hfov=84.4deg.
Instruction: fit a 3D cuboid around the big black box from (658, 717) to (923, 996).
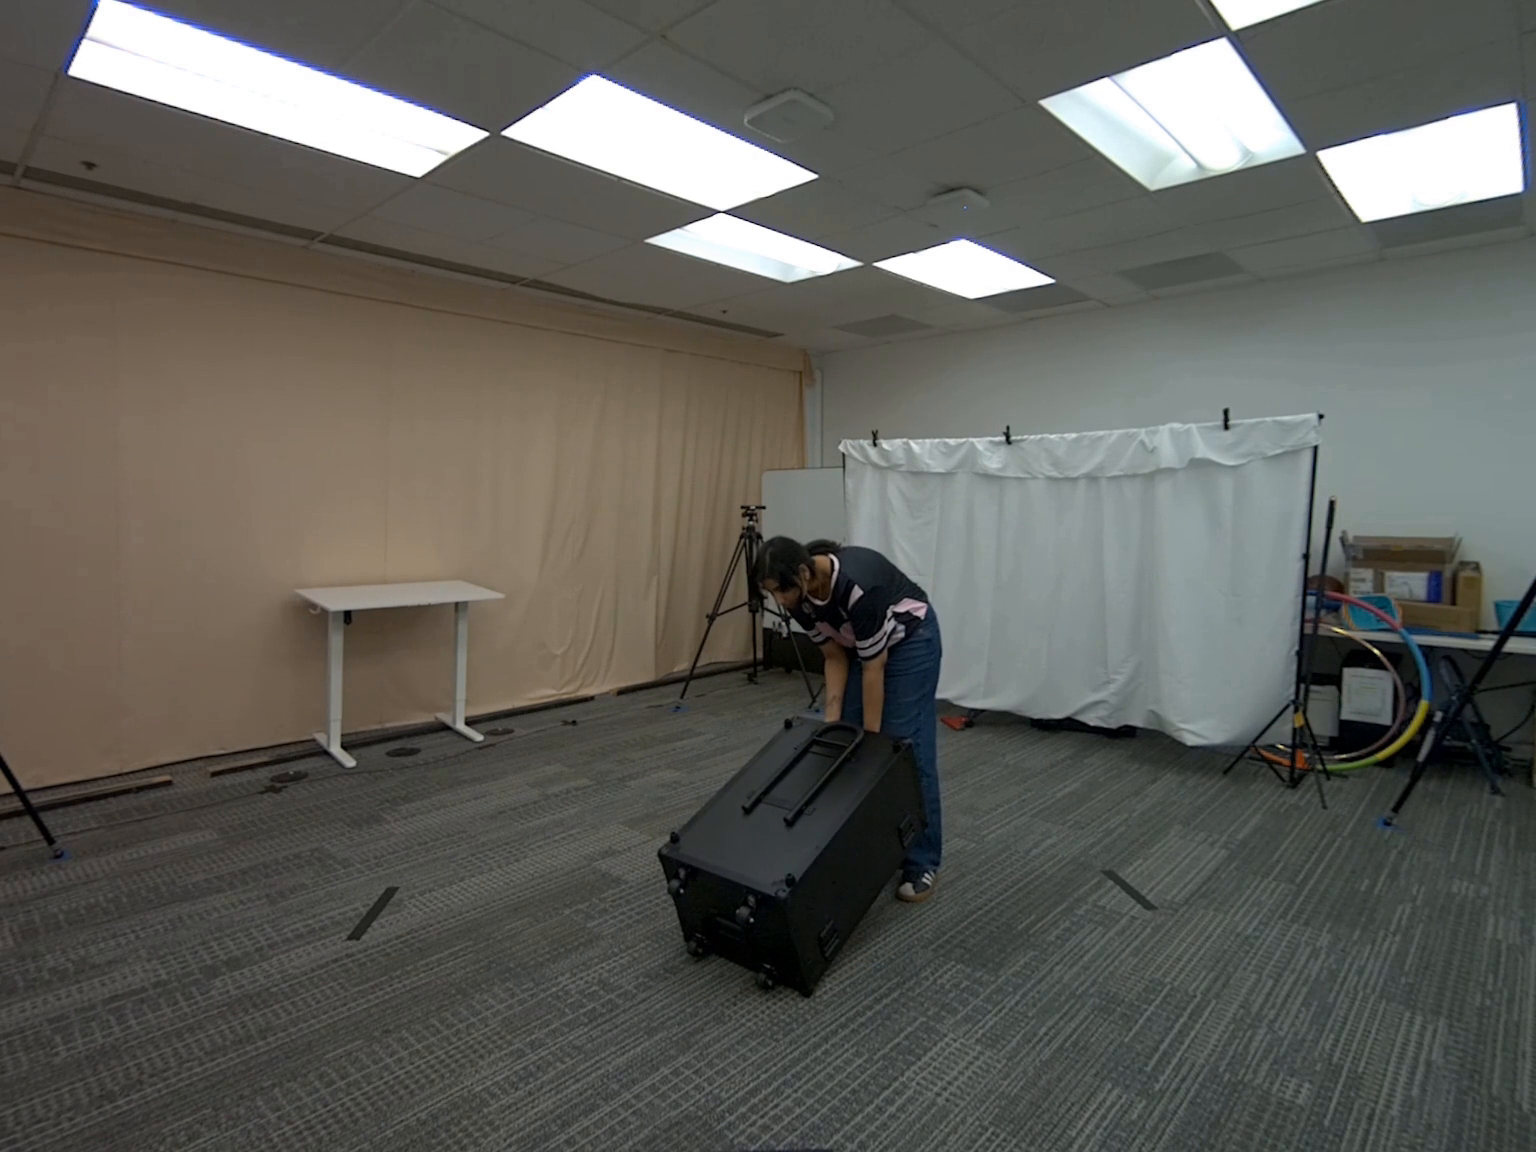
[{"bbox_3d":[0.091,0.867,2.711,0.541,0.378,0.855,5,28,38],"label":"big black box"}]
